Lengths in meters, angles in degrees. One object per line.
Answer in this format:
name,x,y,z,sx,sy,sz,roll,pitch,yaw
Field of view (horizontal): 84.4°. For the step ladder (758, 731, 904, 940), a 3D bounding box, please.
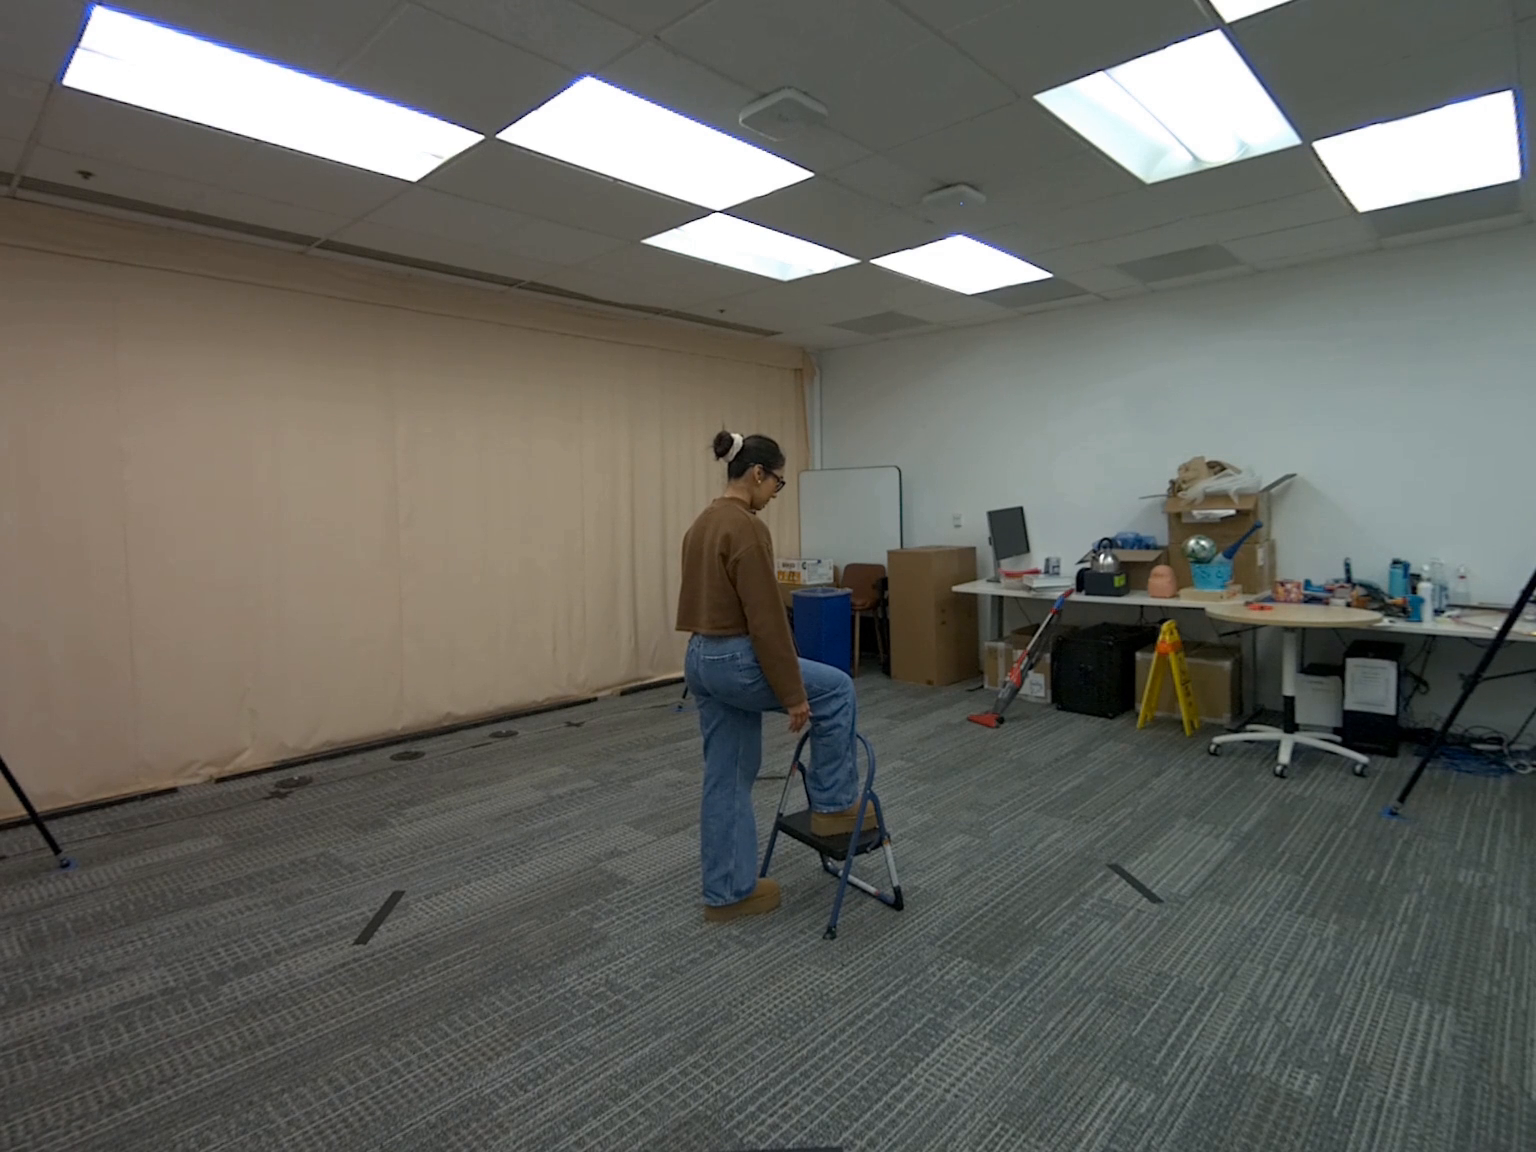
step ladder,0.209,0.836,2.939,0.339,0.605,0.444,-3,4,-35
